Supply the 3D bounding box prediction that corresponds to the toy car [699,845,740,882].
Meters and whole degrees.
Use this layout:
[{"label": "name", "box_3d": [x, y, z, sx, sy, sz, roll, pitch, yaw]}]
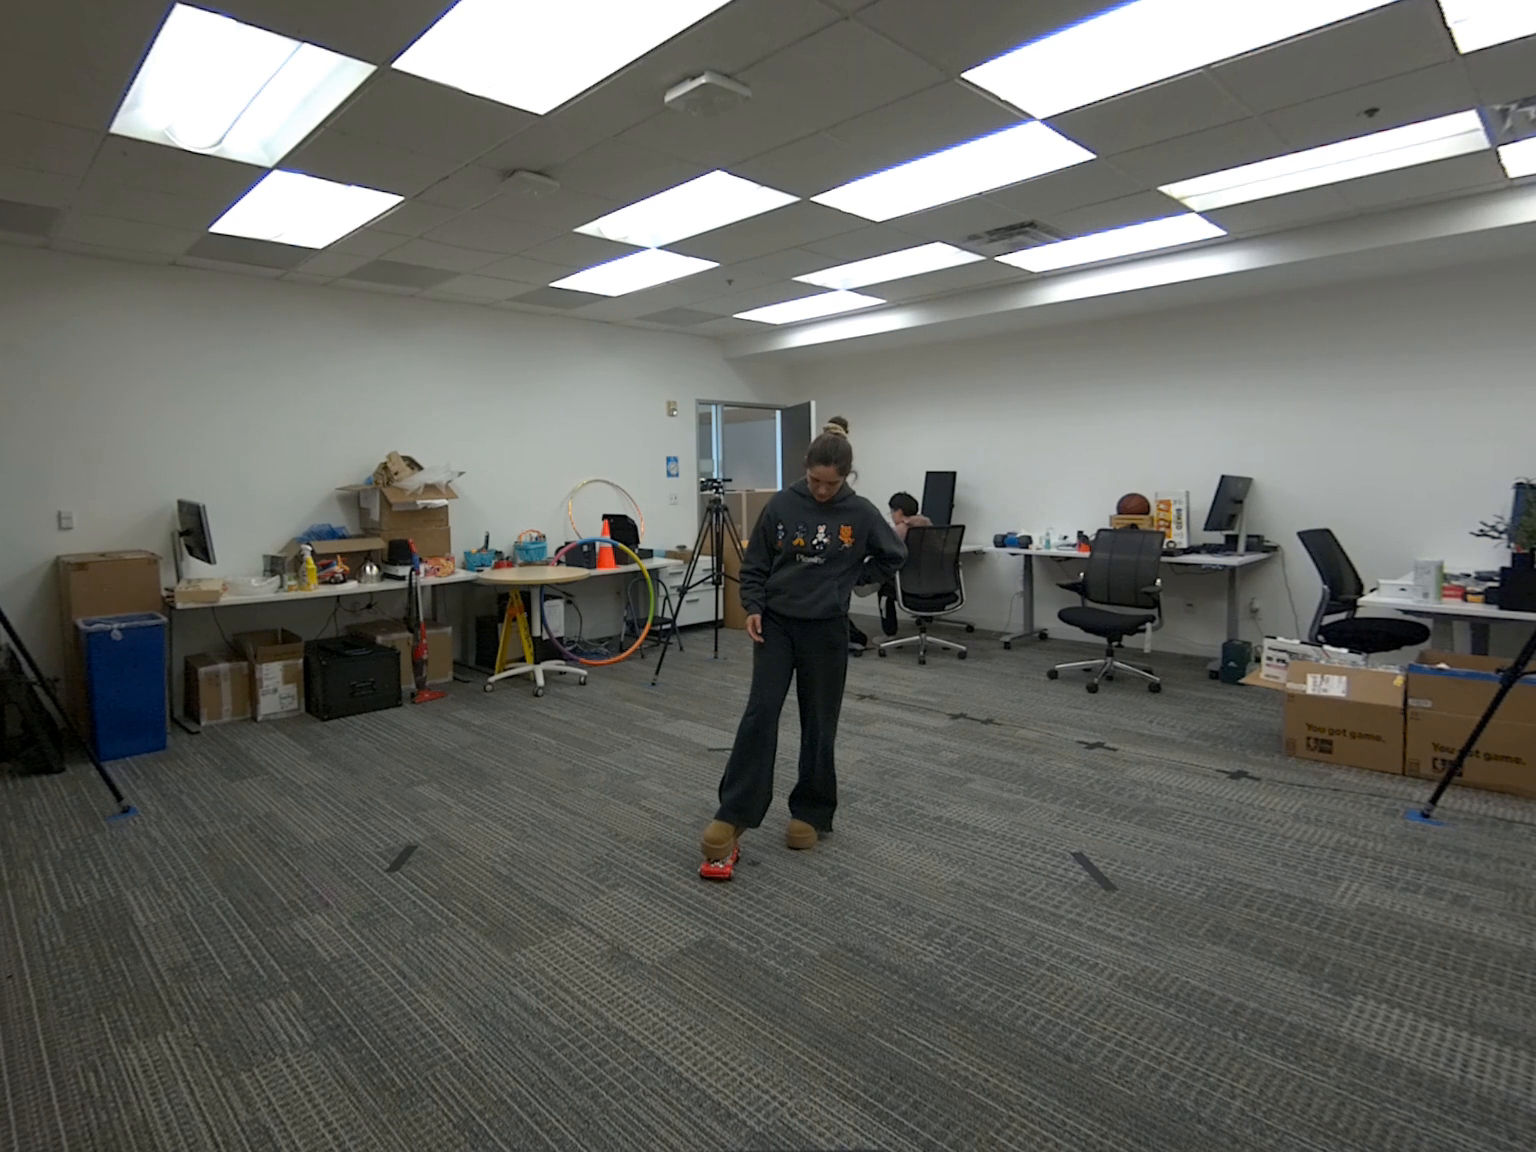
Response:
[{"label": "toy car", "box_3d": [-0.168, 1.021, 3.075, 0.131, 0.082, 0.256, 2, 19, 9]}]
